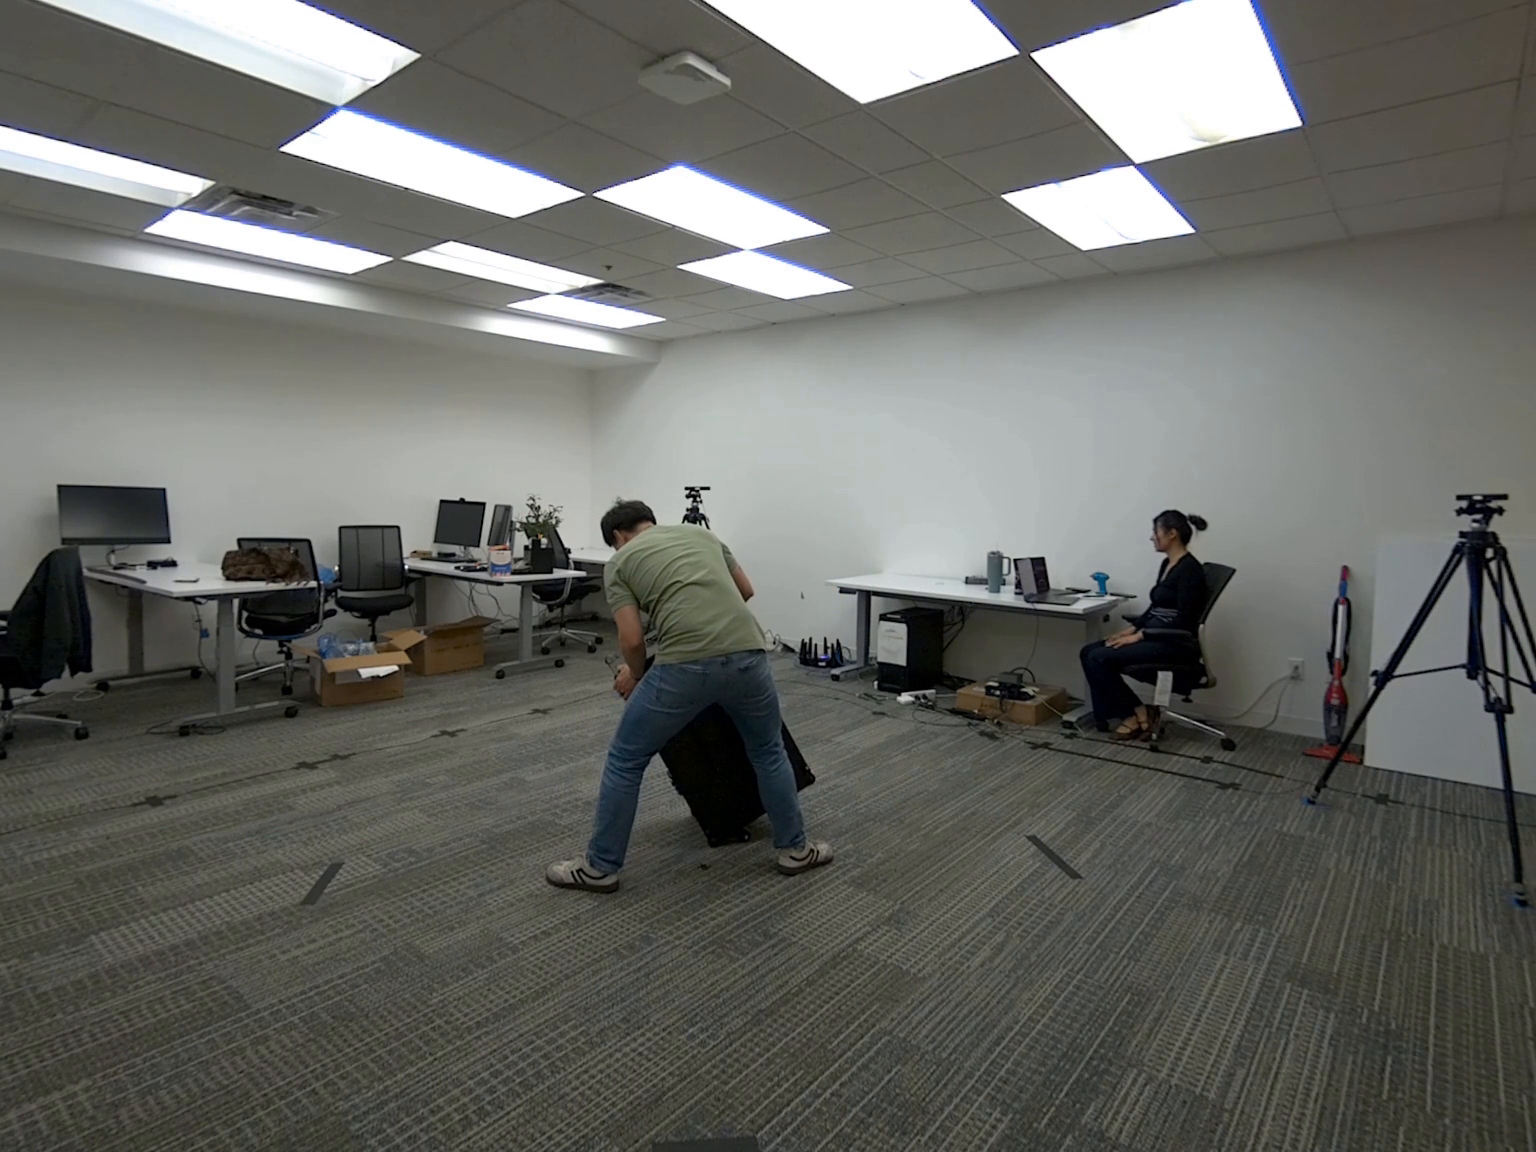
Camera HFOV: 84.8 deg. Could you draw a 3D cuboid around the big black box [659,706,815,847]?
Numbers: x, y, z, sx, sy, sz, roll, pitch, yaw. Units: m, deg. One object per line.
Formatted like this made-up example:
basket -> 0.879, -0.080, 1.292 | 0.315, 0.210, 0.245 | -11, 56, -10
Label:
big black box -> -0.225, 0.604, 3.431 | 0.519, 0.850, 0.404 | -30, 11, -10
